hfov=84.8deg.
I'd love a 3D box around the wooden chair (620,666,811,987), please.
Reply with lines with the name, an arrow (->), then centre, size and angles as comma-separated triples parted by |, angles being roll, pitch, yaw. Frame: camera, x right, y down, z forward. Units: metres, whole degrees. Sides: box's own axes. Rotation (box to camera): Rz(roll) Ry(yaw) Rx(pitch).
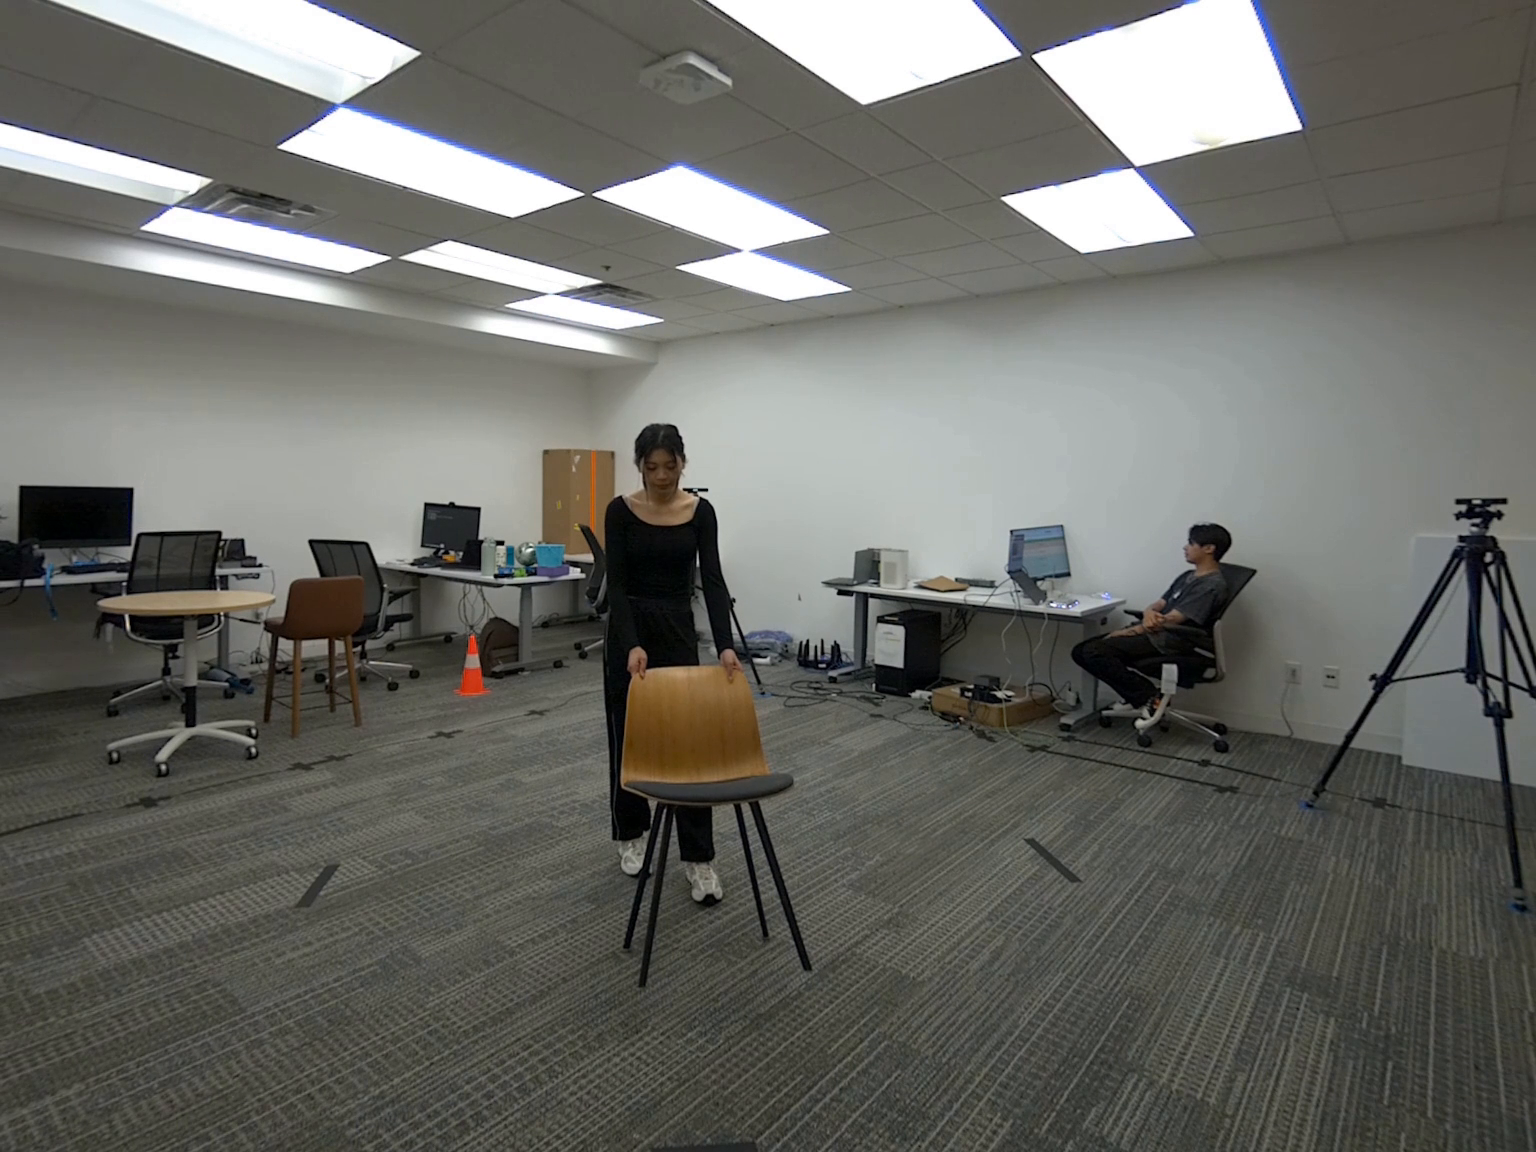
wooden chair -> -0.188, 0.653, 2.484 | 0.472, 0.893, 0.521 | 0, -18, -13
